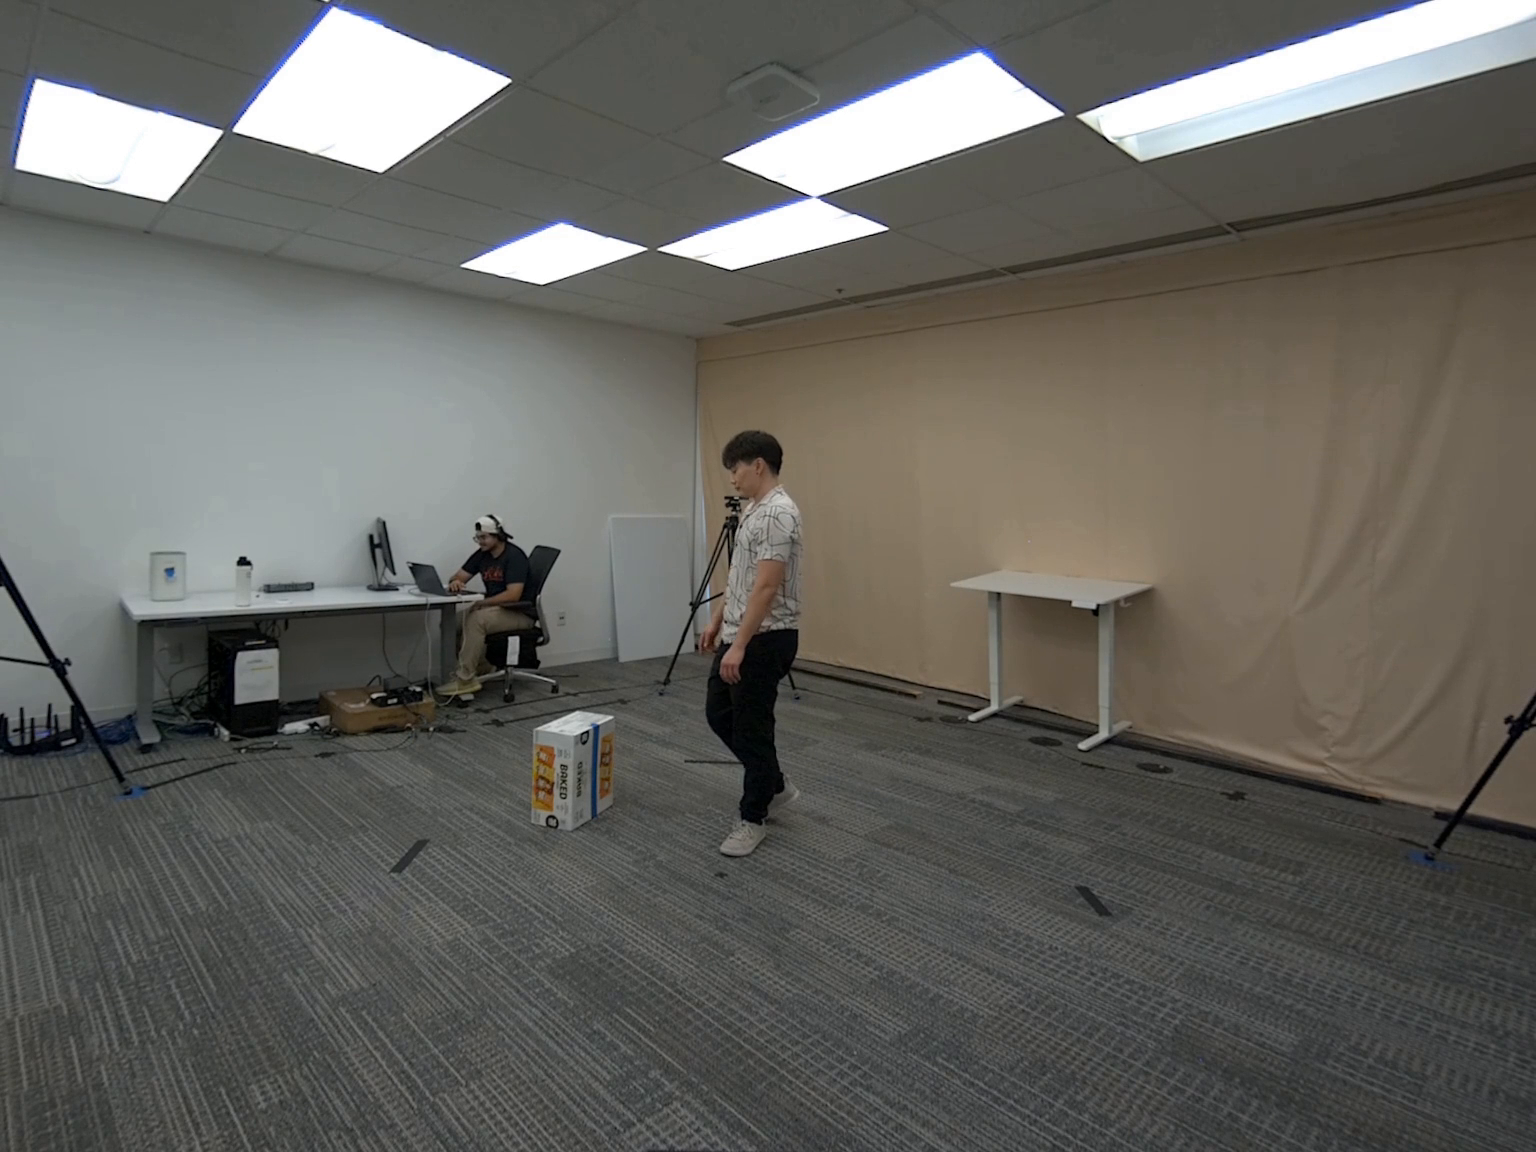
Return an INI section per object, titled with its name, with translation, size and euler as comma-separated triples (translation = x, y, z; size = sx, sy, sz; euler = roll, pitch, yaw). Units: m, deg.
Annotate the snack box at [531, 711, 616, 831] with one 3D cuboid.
[snack box]
translation = -0.844, 0.830, 3.653
size = 0.209, 0.404, 0.336
euler = 3, 5, 20
